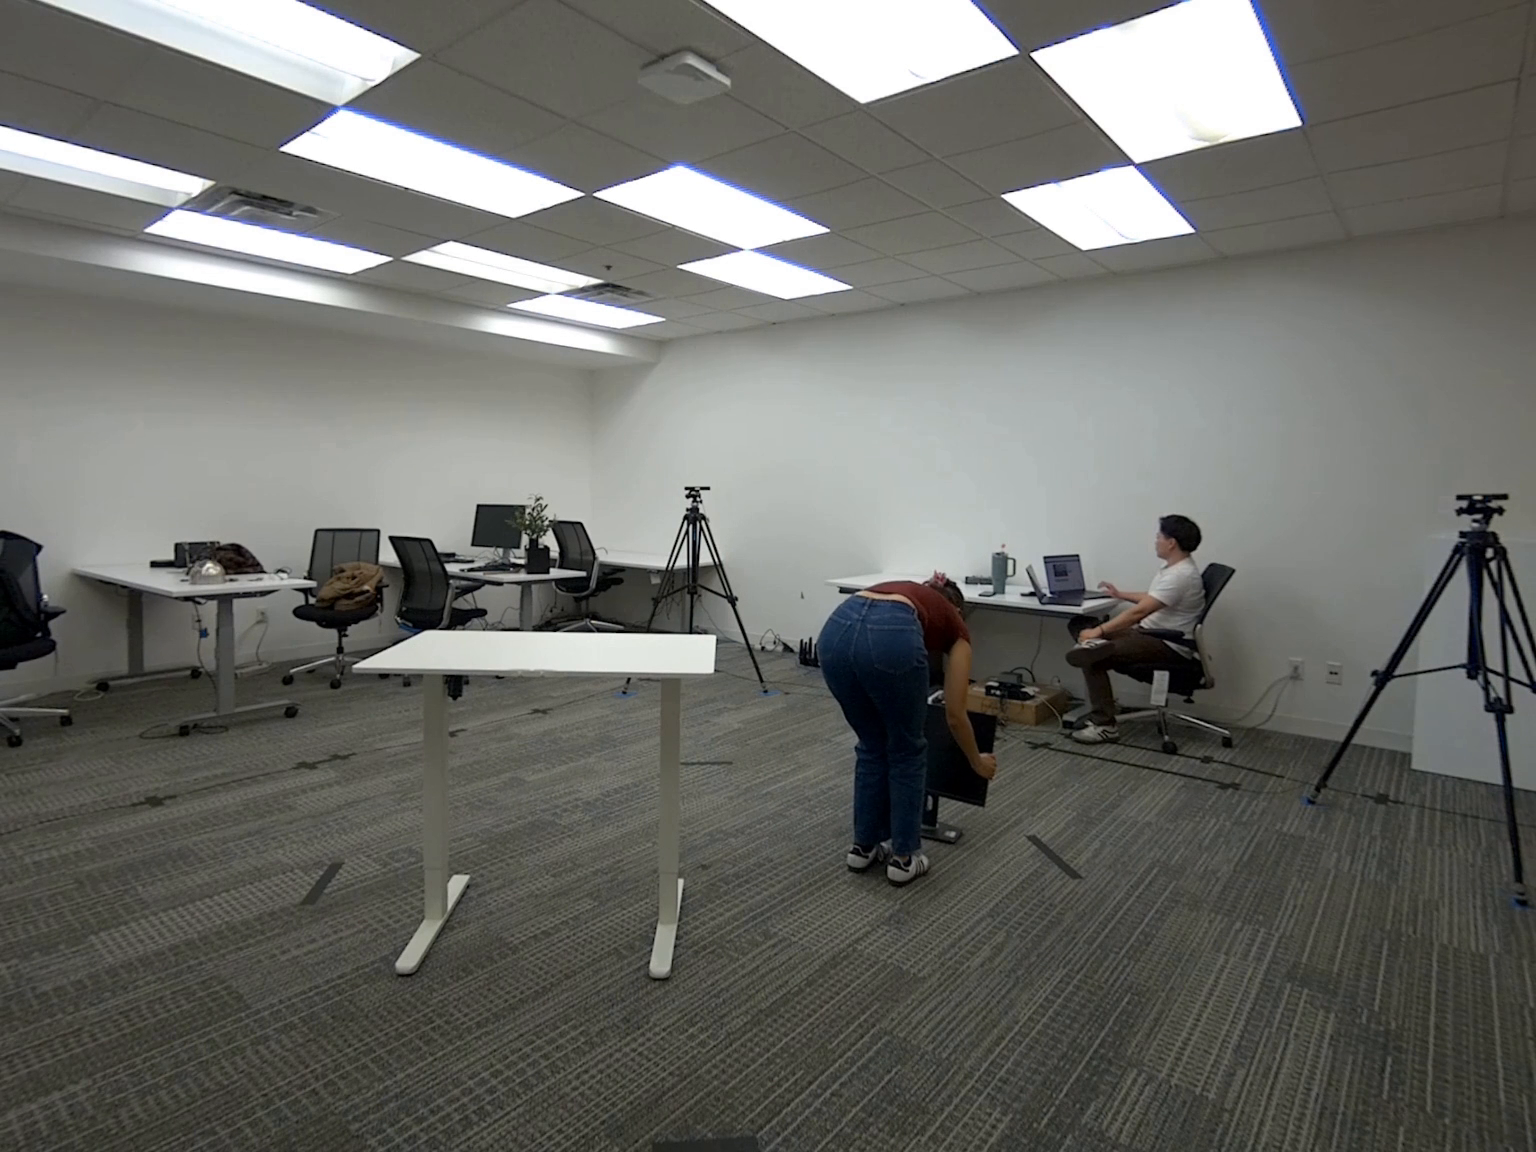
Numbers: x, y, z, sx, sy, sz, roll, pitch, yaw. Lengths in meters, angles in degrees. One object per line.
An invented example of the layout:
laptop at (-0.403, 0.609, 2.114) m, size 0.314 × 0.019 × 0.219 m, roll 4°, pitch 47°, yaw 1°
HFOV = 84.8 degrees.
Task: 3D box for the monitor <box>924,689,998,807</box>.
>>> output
monitor at (0.647, 0.783, 3.488) m, size 0.556 × 0.522 × 0.181 m, roll 3°, pitch 1°, yaw 33°
